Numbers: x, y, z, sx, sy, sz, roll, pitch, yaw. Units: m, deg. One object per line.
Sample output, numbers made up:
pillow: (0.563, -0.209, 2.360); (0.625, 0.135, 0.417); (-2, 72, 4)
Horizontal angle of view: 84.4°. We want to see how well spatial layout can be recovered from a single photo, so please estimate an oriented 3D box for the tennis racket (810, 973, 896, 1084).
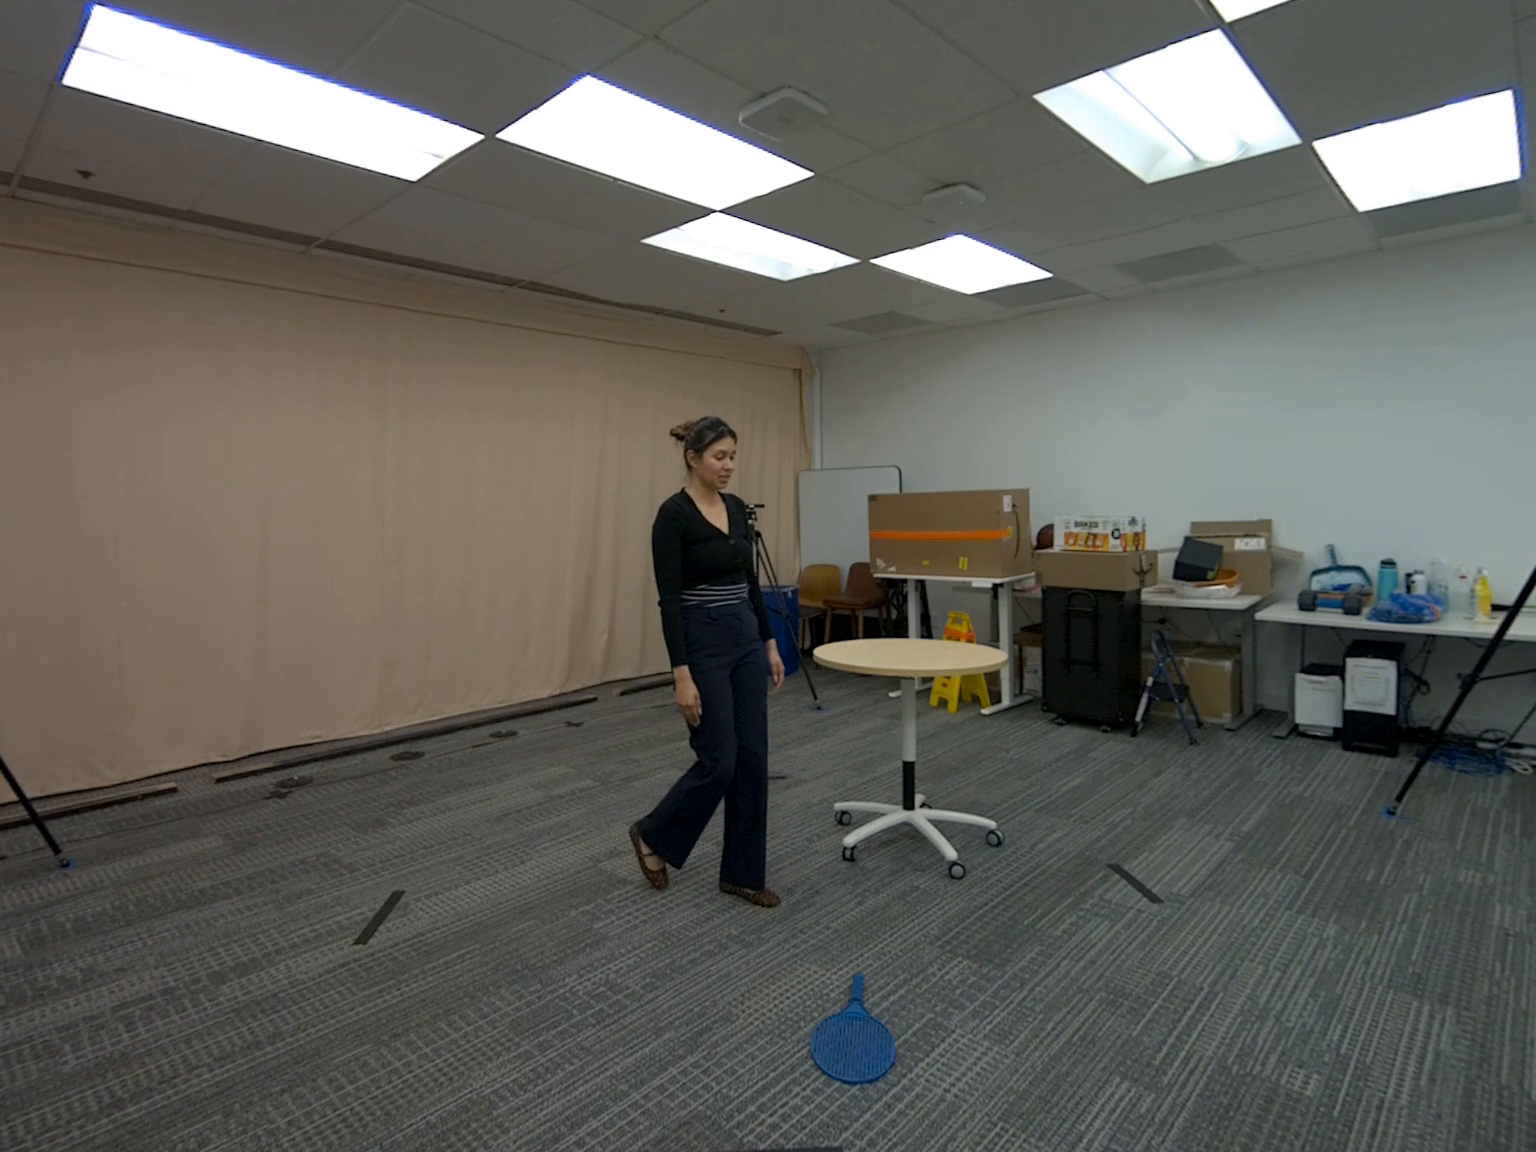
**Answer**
tennis racket: (0.230, 1.185, 2.236); (0.216, 0.031, 0.430); (0, 7, 8)
